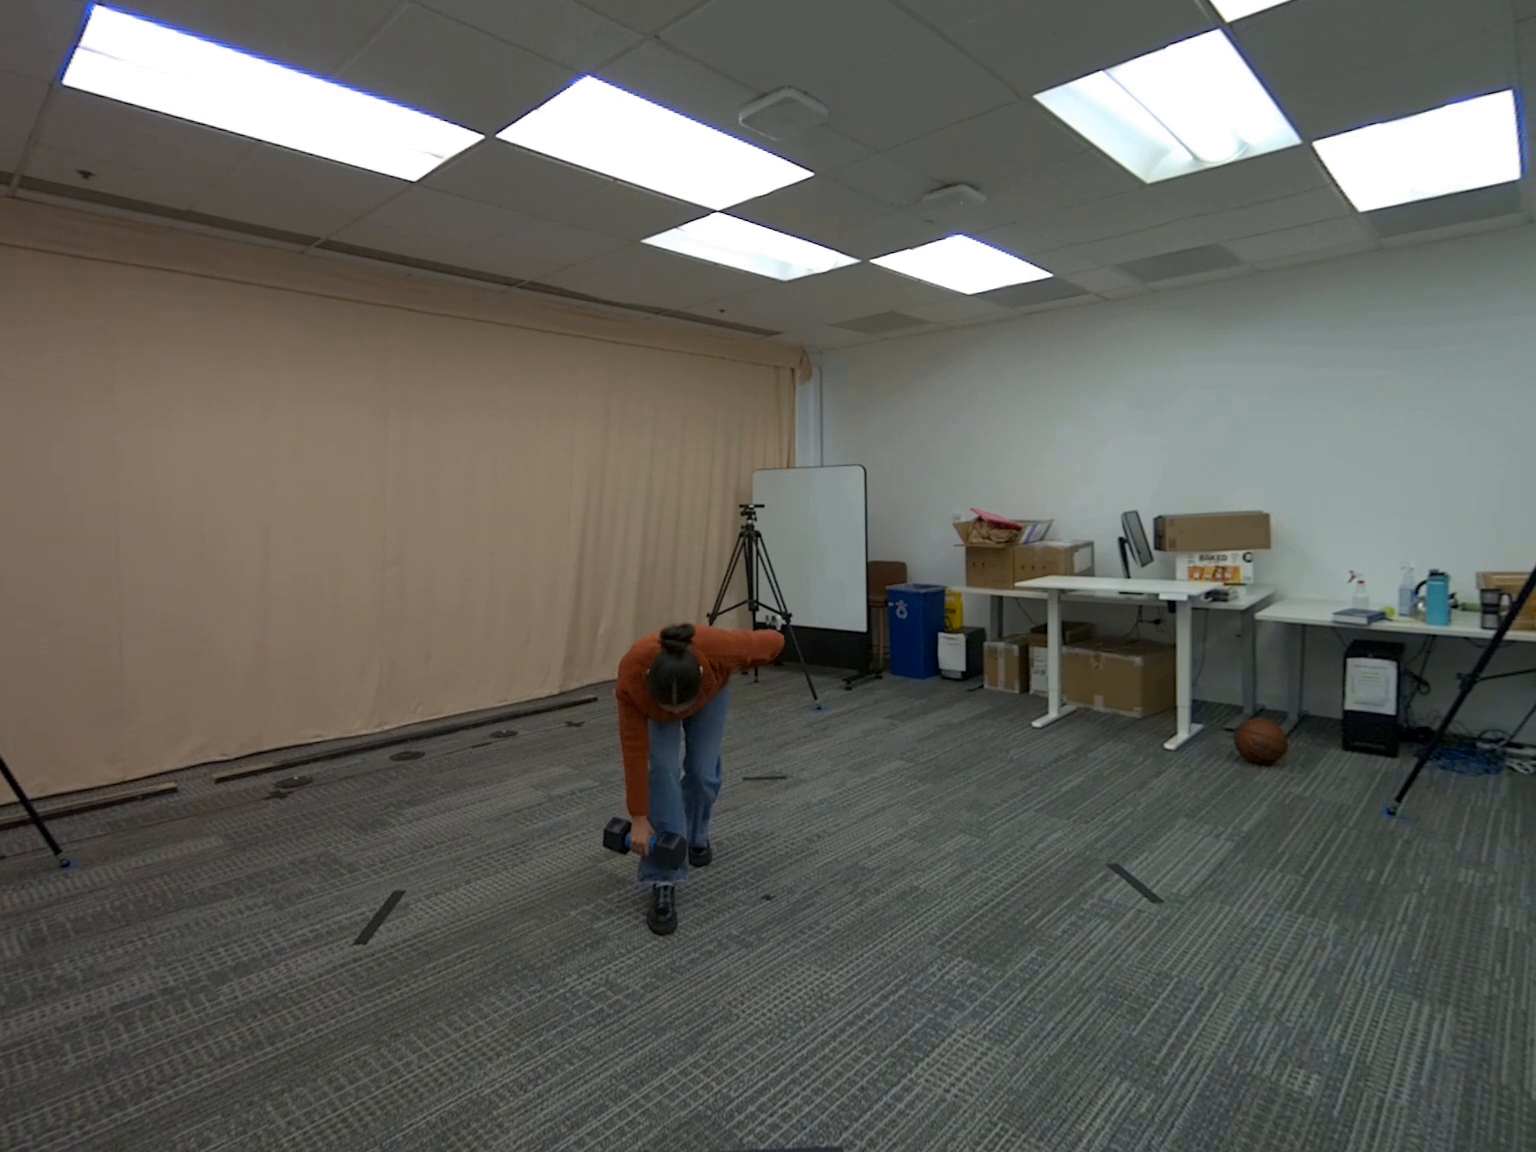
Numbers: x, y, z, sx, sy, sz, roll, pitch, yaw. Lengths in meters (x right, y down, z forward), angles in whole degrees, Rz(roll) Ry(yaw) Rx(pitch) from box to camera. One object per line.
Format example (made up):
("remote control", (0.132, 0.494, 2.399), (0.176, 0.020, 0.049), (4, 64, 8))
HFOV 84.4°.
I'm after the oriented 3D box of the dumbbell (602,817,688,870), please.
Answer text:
("dumbbell", (-0.429, 0.919, 2.893), (0.302, 0.123, 0.105), (5, 0, 30))
